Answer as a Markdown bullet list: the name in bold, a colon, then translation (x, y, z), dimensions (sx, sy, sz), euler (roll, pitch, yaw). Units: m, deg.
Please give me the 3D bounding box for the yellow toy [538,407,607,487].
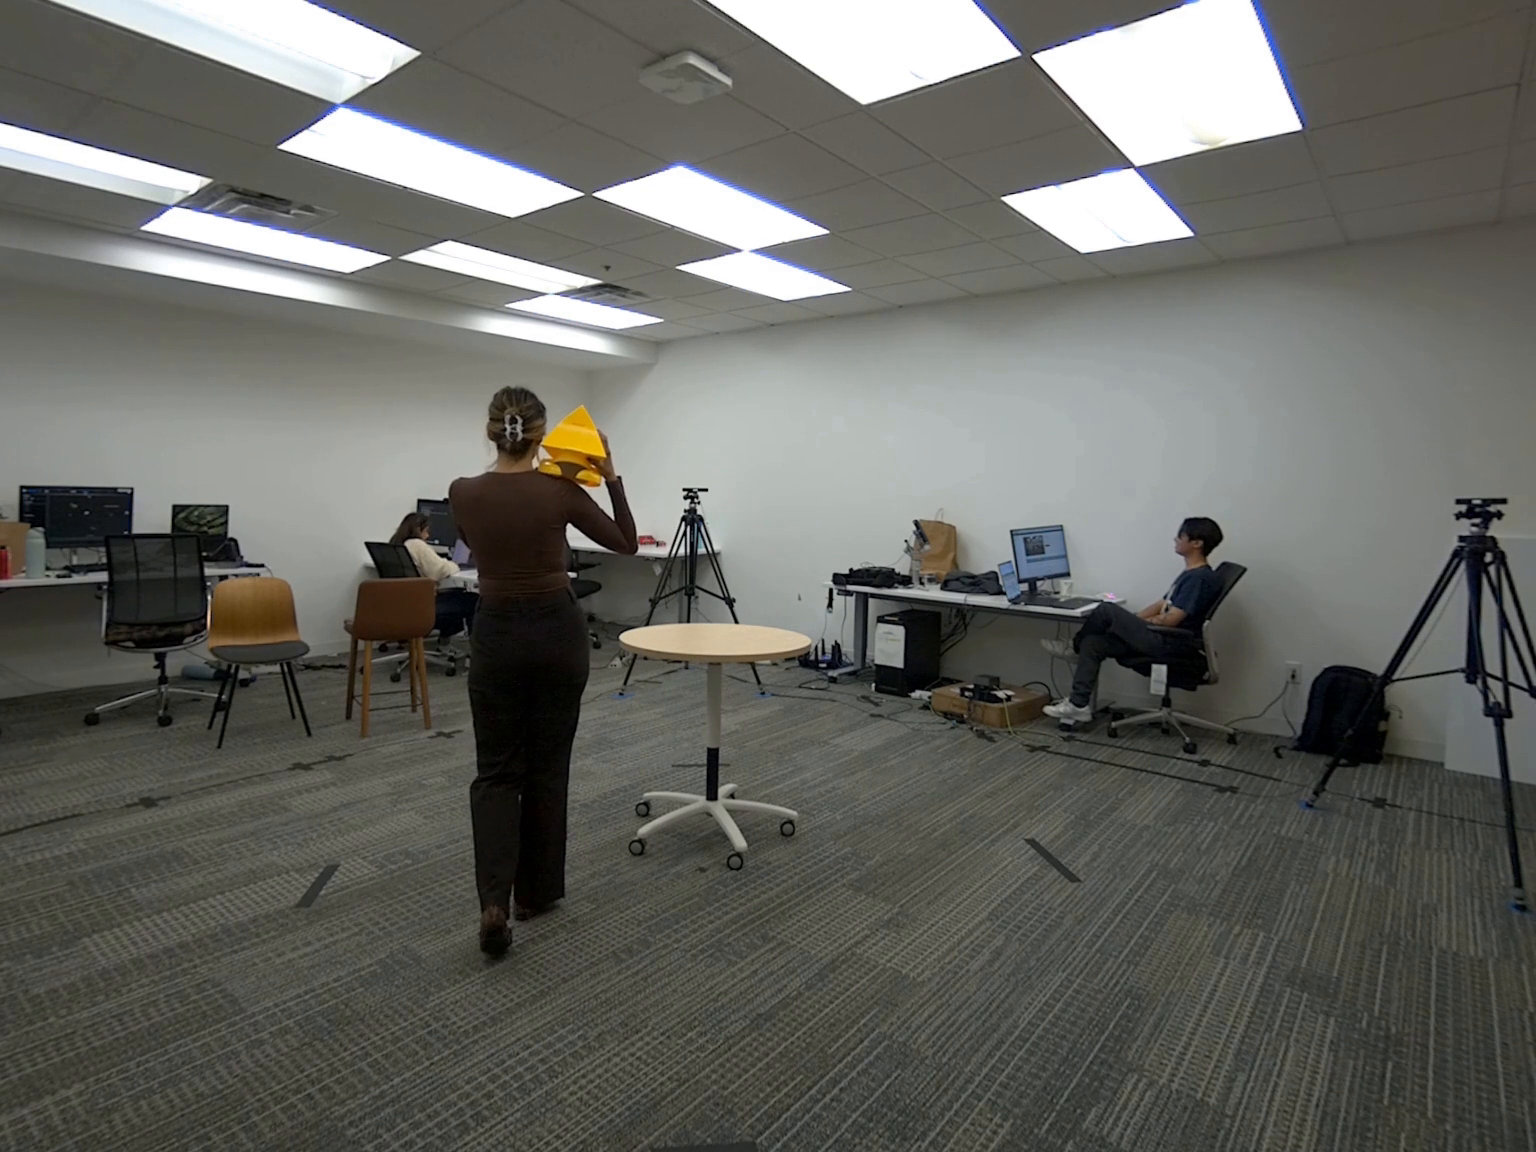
- **yellow toy**: translation (-0.629, -0.422, 2.696), dimensions (0.203, 0.231, 0.194), euler (10, -4, -8)
